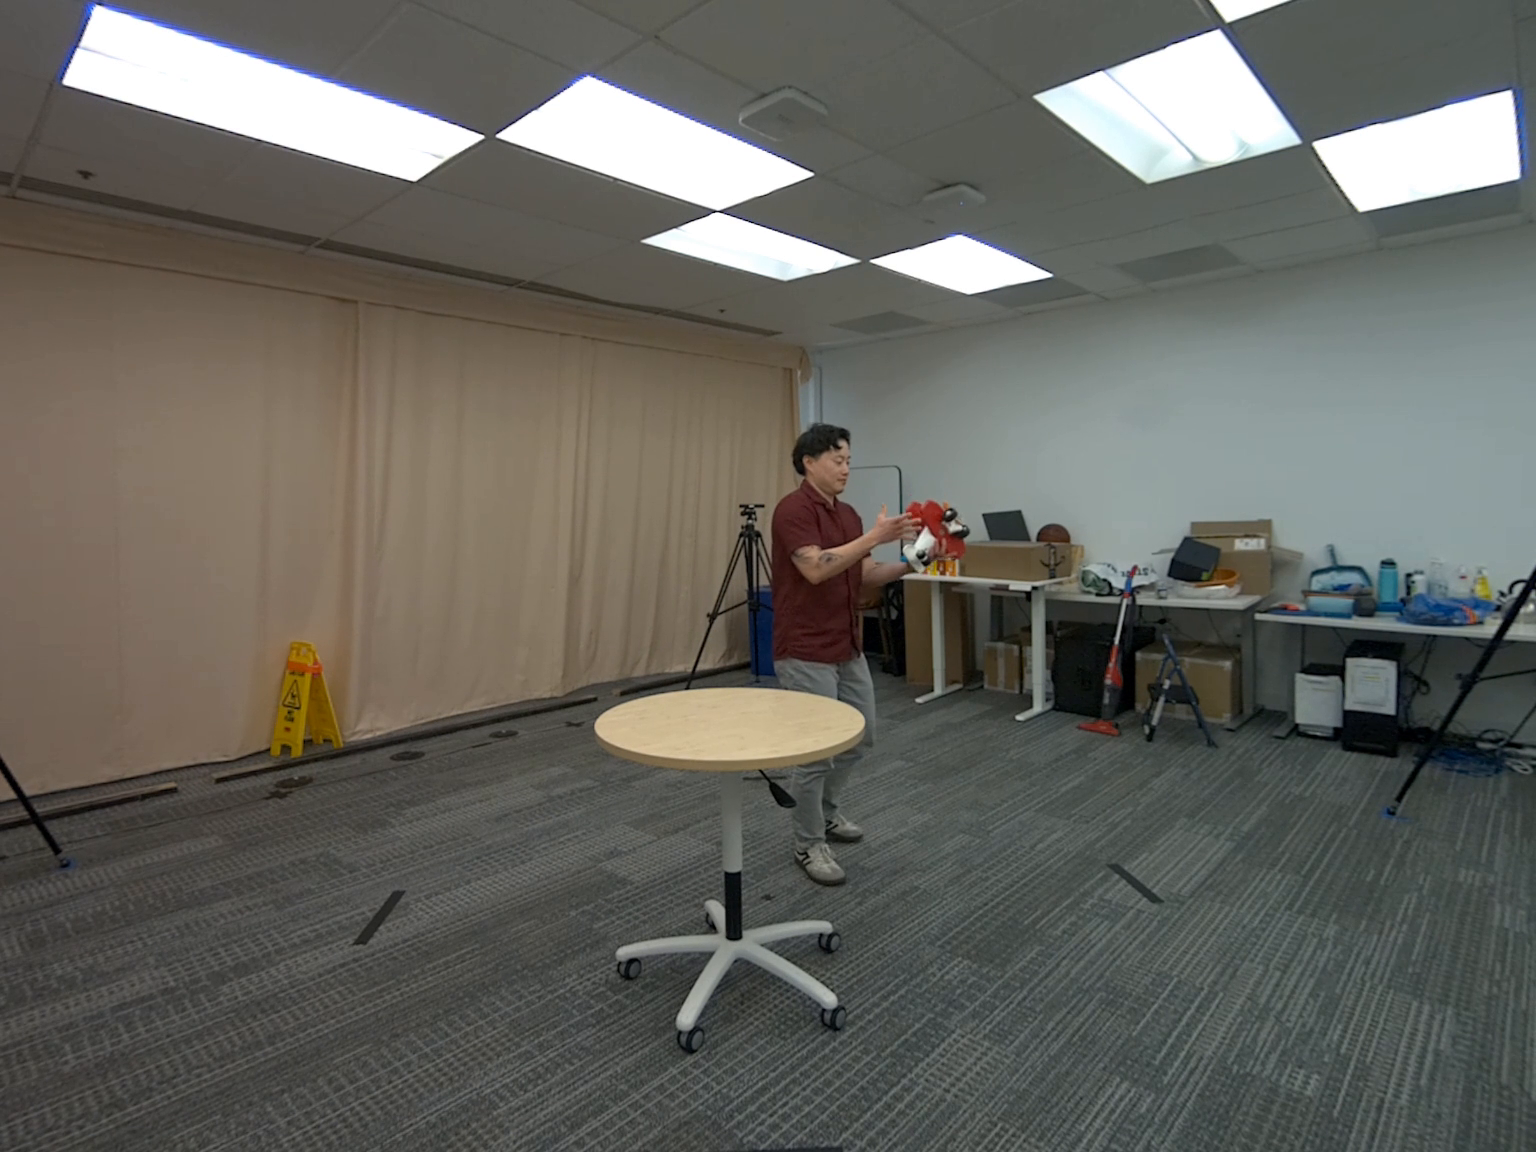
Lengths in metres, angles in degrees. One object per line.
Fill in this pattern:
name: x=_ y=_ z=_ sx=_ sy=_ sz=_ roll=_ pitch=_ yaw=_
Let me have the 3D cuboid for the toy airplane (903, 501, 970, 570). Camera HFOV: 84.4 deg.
toy airplane: x=0.586 y=-0.149 z=3.011 sx=0.256 sy=0.248 sz=0.160 roll=-16 pitch=14 yaw=-16
